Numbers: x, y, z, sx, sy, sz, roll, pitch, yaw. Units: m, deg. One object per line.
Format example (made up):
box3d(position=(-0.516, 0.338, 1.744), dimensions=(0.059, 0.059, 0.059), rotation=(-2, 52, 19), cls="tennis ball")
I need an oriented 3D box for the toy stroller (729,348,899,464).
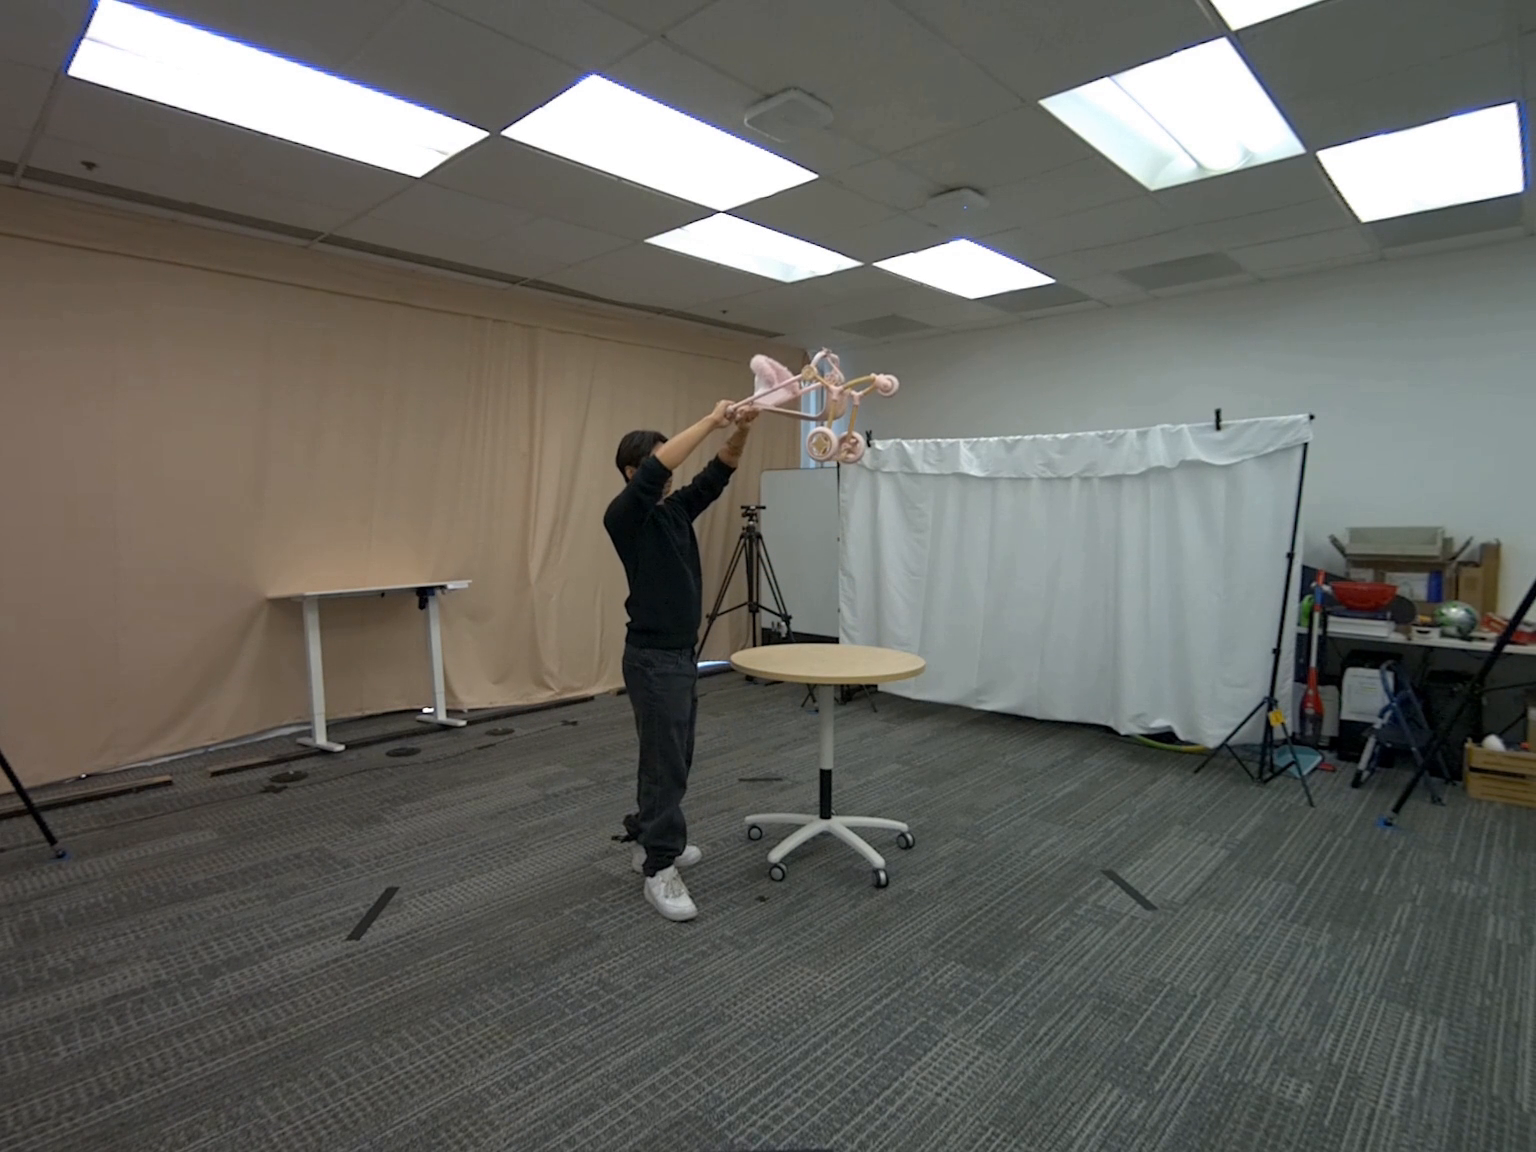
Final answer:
box3d(position=(0.144, -0.583, 2.771), dimensions=(0.550, 0.340, 0.274), rotation=(30, 22, 25), cls="toy stroller")
